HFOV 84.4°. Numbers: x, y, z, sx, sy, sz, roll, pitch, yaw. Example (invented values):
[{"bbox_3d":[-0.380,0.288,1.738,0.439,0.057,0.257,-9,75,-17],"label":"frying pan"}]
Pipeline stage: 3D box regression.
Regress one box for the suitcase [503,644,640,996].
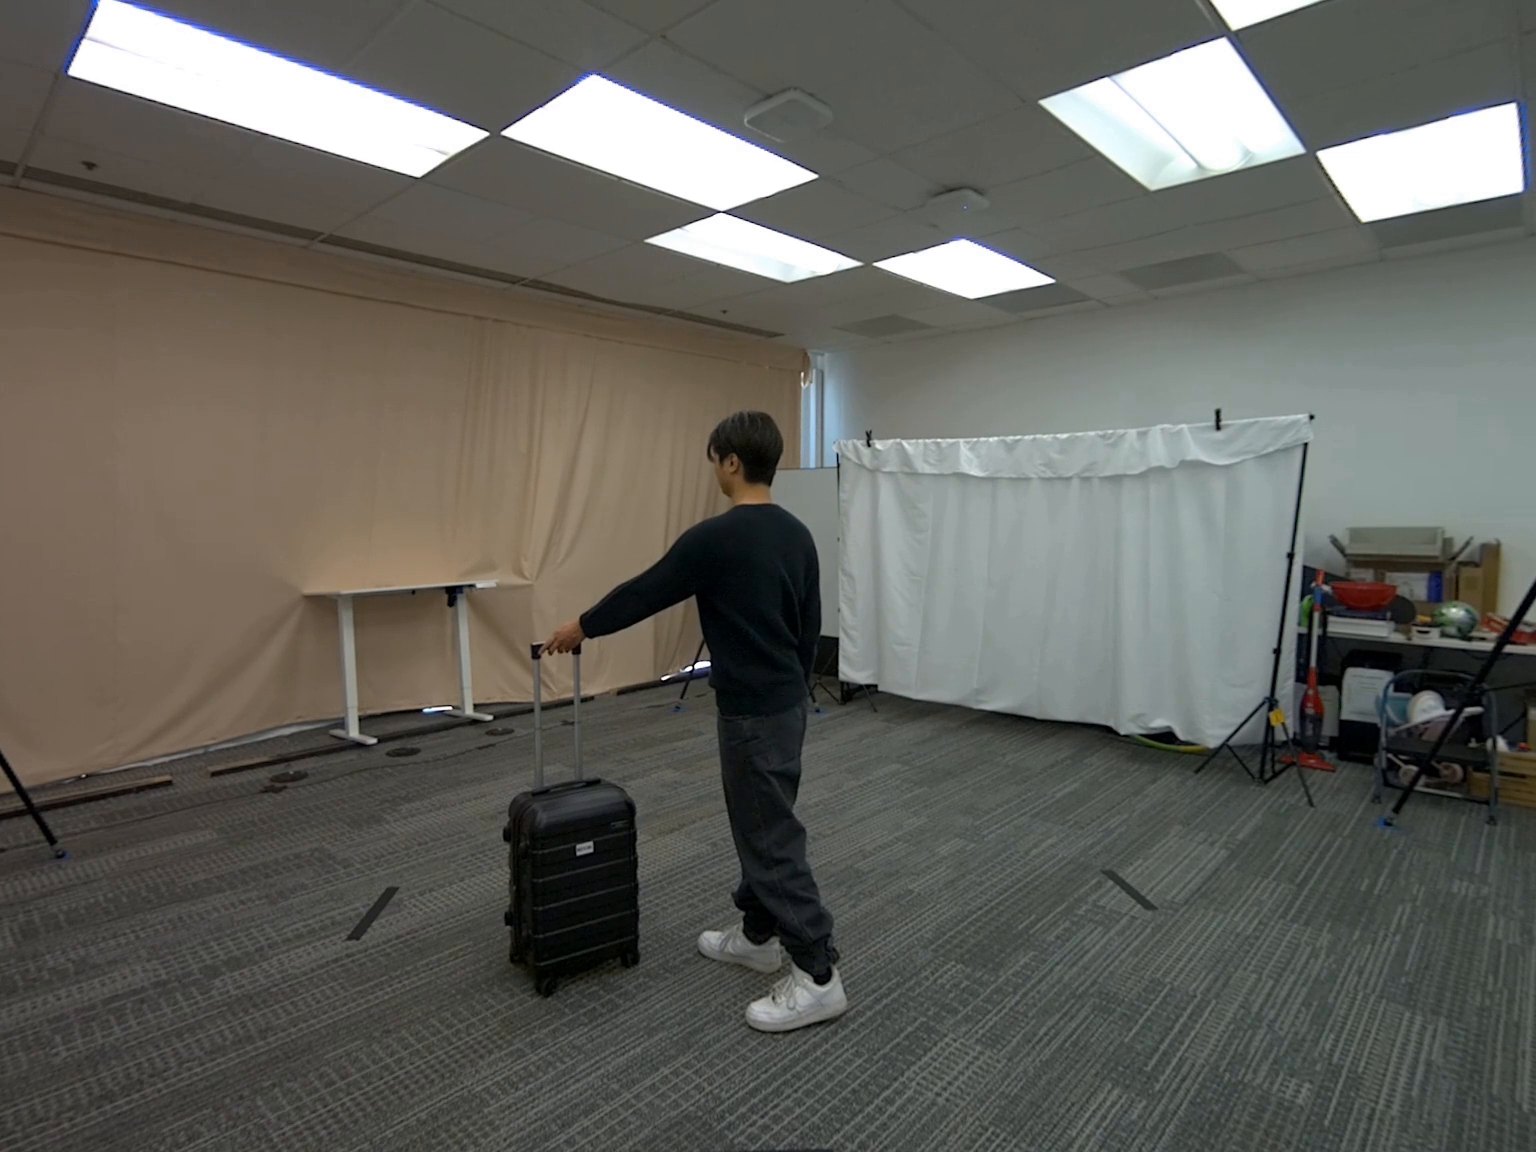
[{"bbox_3d":[-0.587,0.712,2.529,0.373,0.975,0.265,-2,6,-31],"label":"suitcase"}]
